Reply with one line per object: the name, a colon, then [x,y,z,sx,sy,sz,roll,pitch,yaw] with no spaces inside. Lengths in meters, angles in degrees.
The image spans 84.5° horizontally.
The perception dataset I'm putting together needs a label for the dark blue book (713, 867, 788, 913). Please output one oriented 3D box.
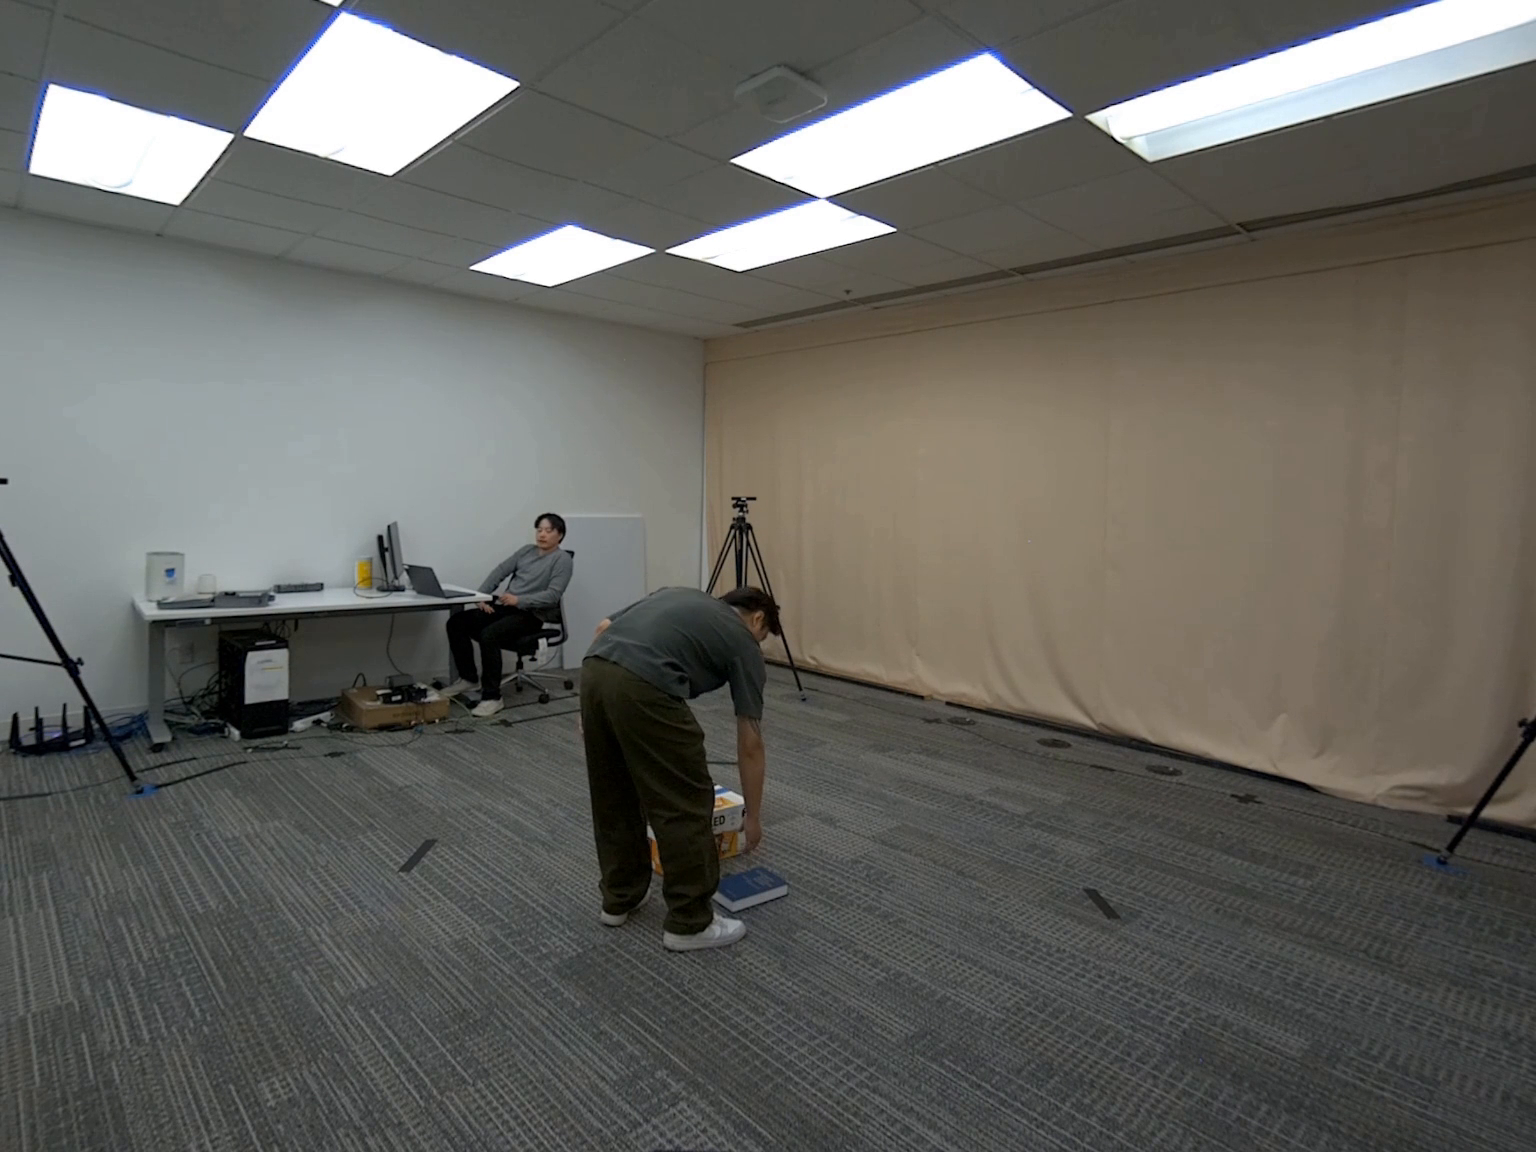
dark blue book: [-0.075,1.103,2.950,0.240,0.045,0.167,-3,7,-37]
